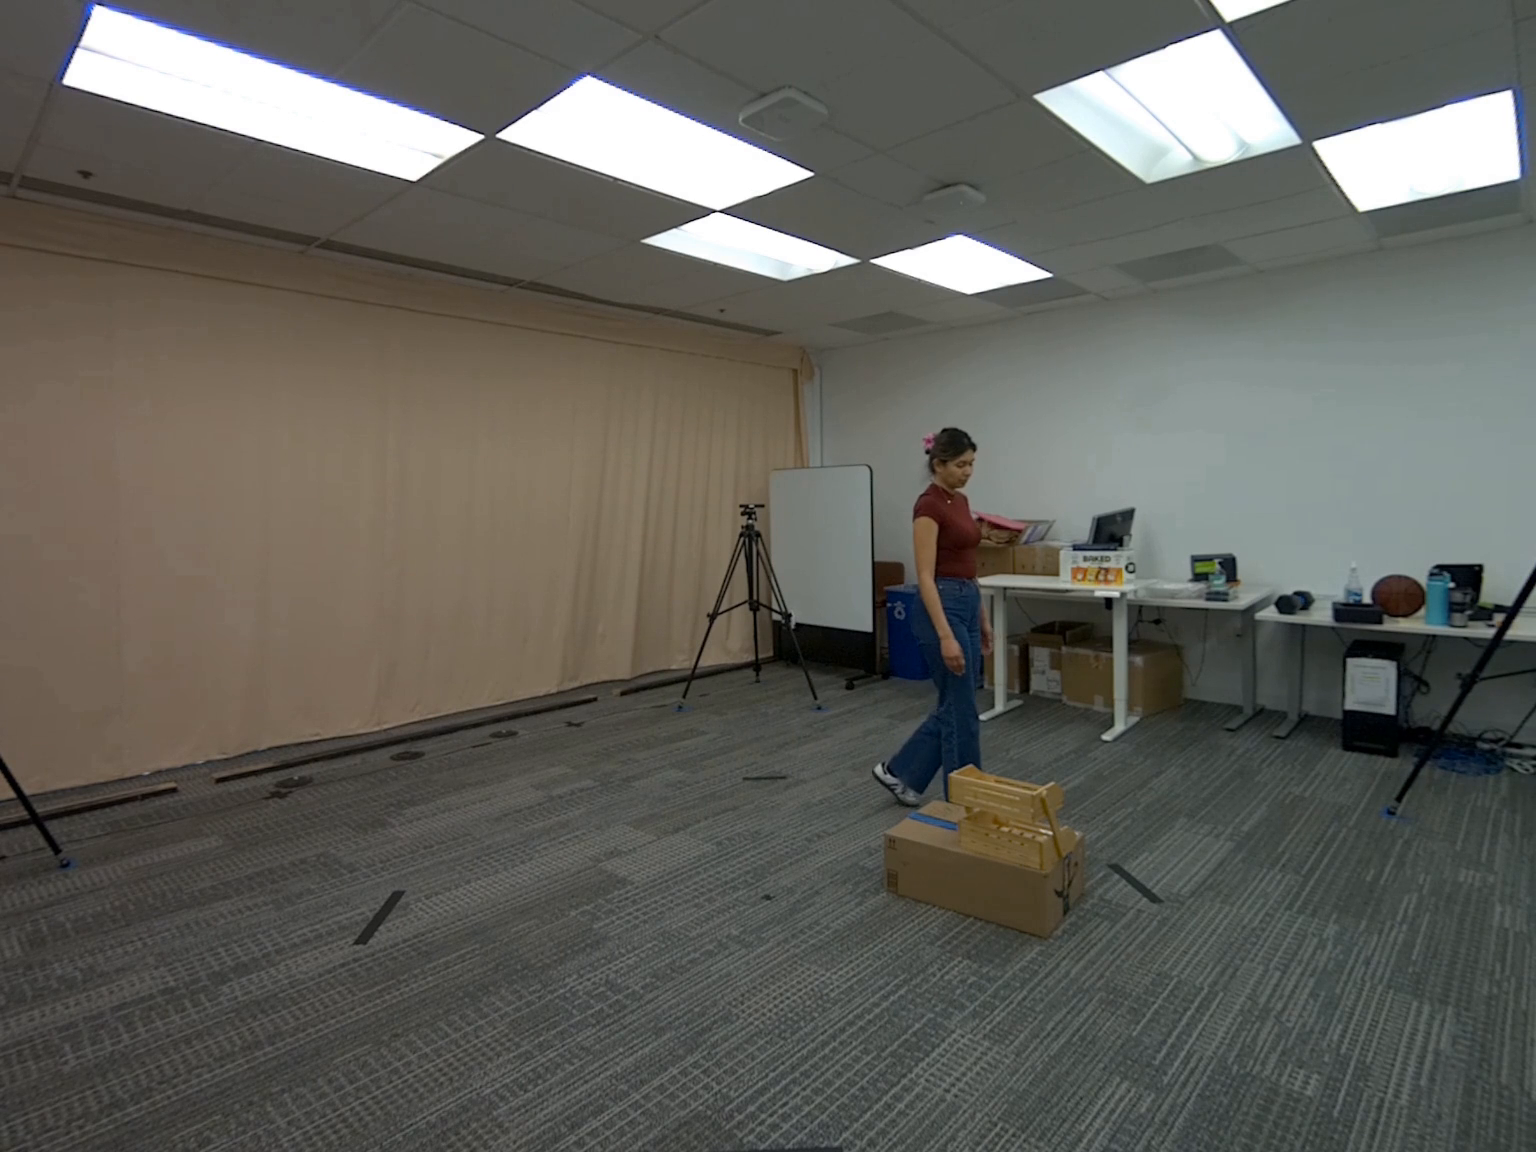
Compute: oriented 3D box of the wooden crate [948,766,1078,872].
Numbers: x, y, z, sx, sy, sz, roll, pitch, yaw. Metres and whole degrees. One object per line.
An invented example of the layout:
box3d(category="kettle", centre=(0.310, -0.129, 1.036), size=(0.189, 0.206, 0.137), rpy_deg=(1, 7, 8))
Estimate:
box3d(category="wooden crate", centre=(0.830, 0.790, 2.833), size=(0.335, 0.273, 0.293), rpy_deg=(2, 5, 45))
